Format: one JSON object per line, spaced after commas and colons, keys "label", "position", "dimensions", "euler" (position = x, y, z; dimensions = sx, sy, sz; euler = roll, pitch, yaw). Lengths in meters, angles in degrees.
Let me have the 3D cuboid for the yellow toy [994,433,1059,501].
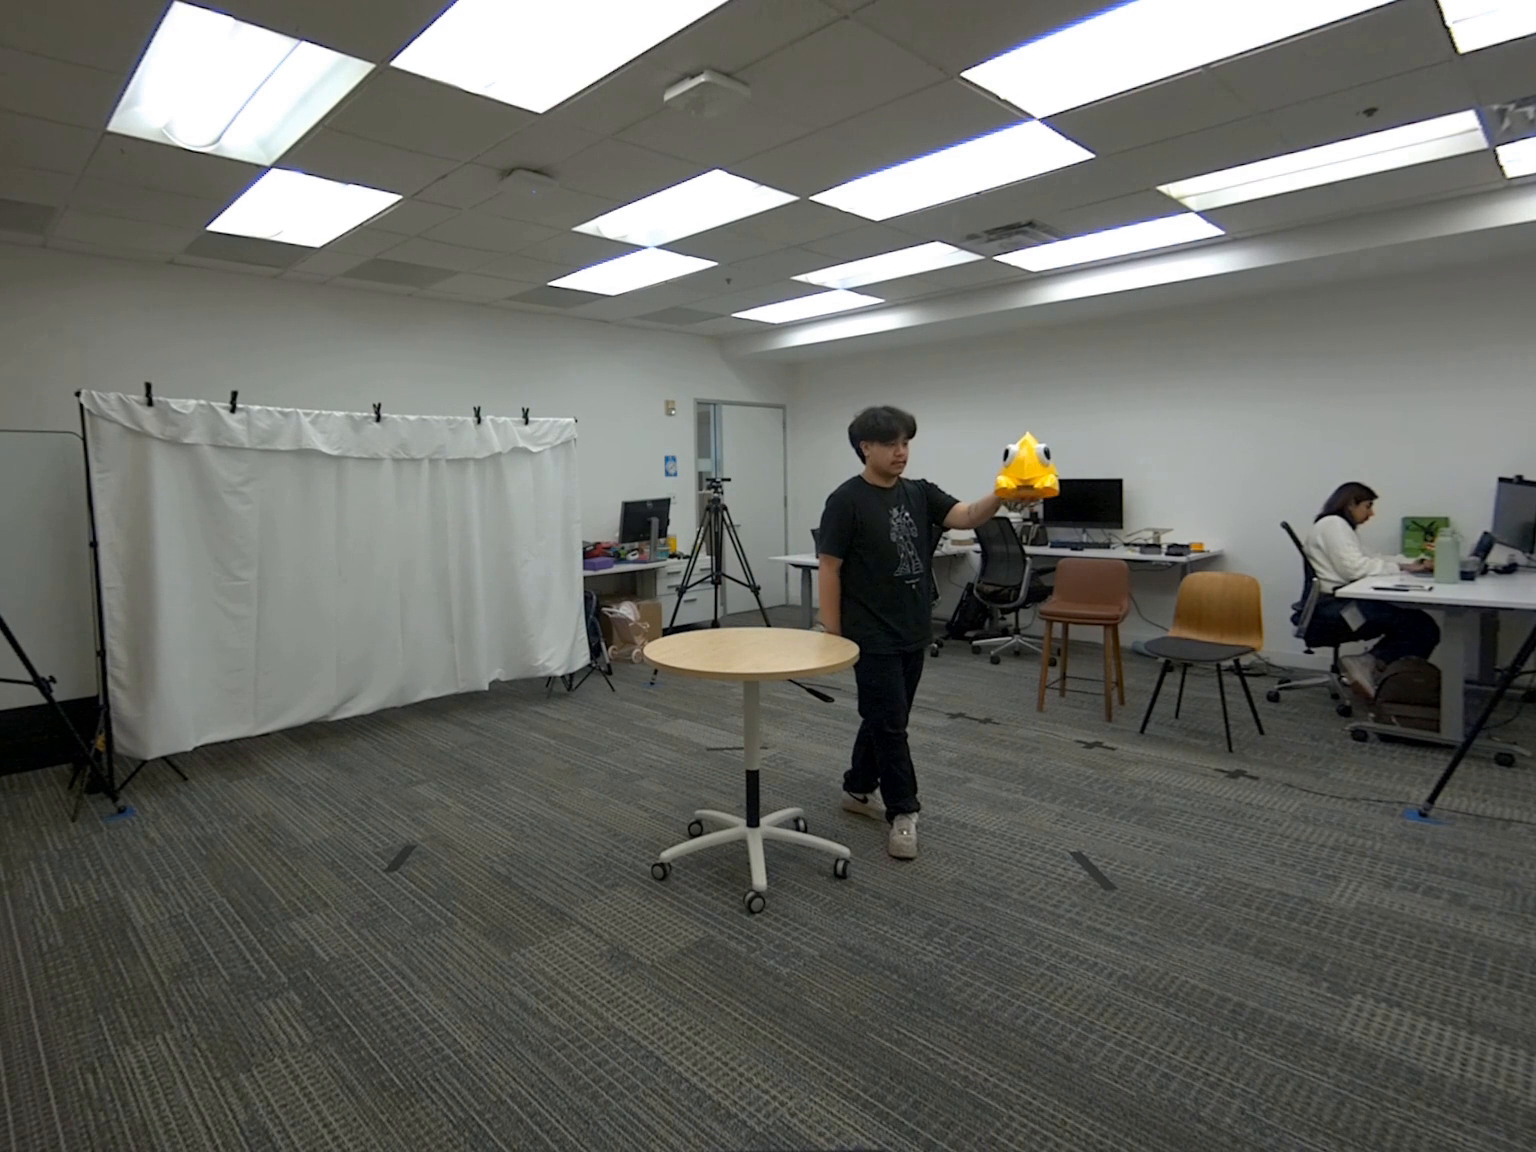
{"label": "yellow toy", "position": [0.866, -0.388, 2.838], "dimensions": [0.209, 0.232, 0.188], "euler": [1, -10, 20]}
